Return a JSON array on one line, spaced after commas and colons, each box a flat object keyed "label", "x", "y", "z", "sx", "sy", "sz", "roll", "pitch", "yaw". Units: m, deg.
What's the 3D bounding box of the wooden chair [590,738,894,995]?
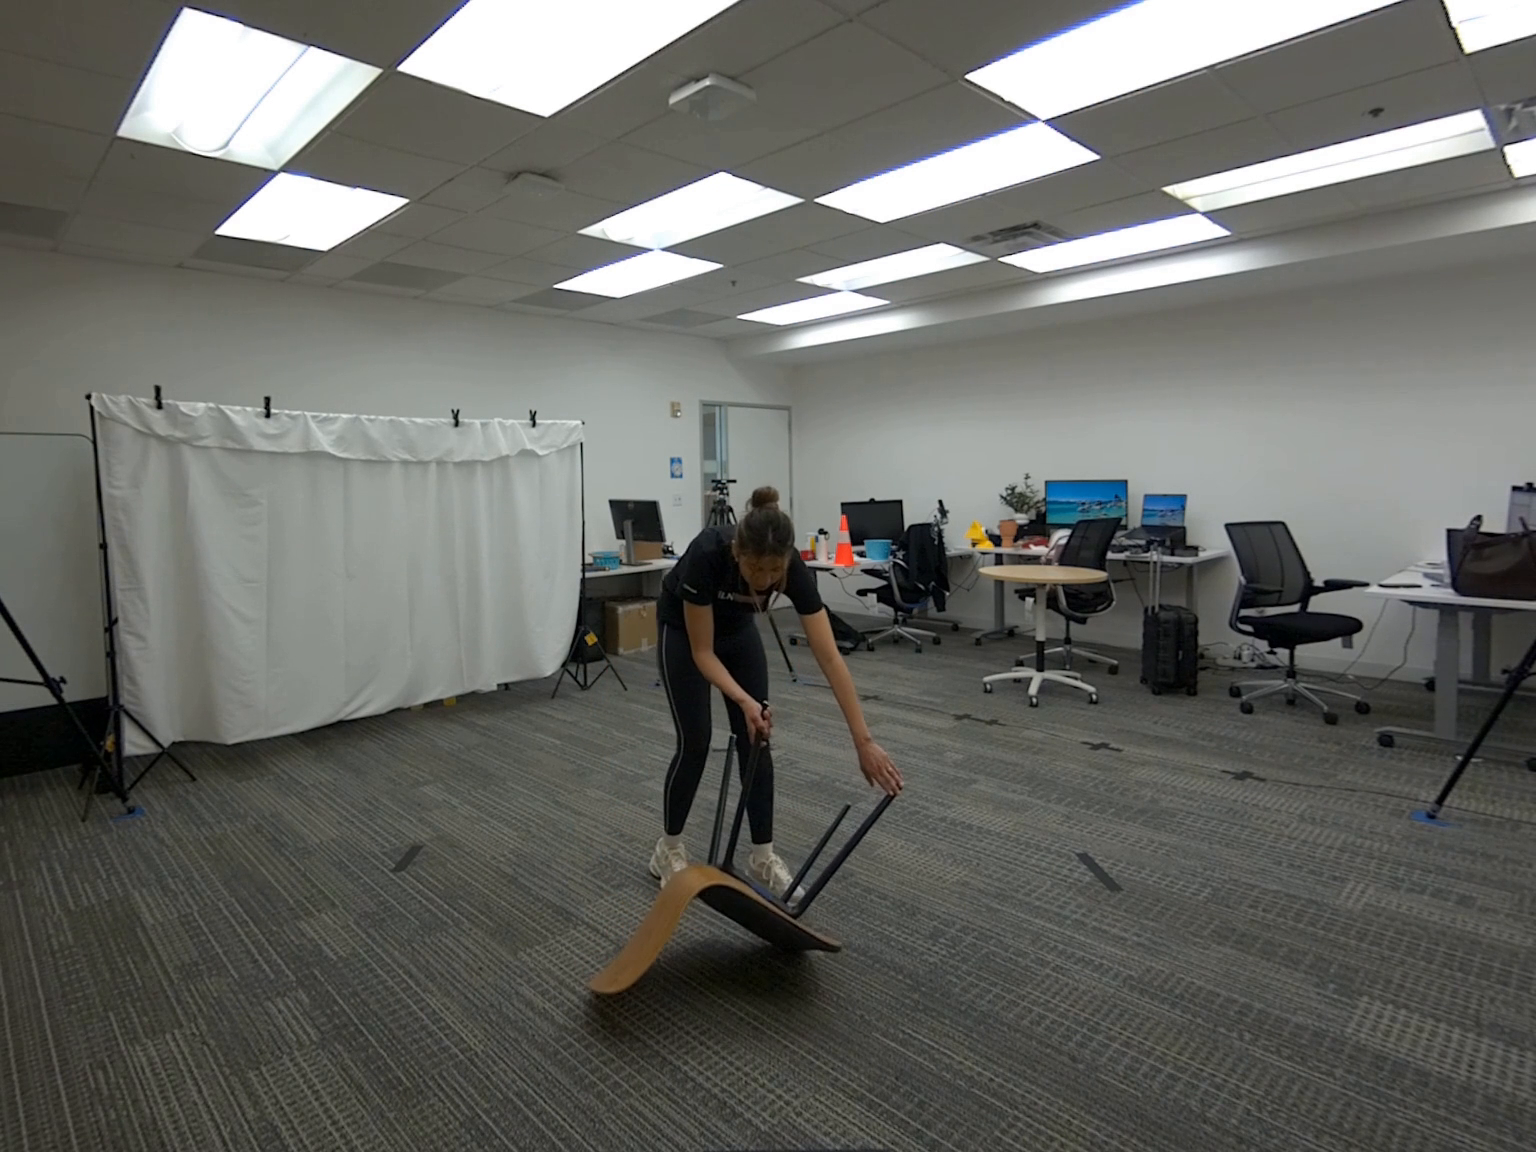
[{"label": "wooden chair", "x": -0.044, "y": 0.894, "z": 2.409, "sx": 0.525, "sy": 0.881, "sz": 0.474, "roll": 33, "pitch": -27, "yaw": 1}]
